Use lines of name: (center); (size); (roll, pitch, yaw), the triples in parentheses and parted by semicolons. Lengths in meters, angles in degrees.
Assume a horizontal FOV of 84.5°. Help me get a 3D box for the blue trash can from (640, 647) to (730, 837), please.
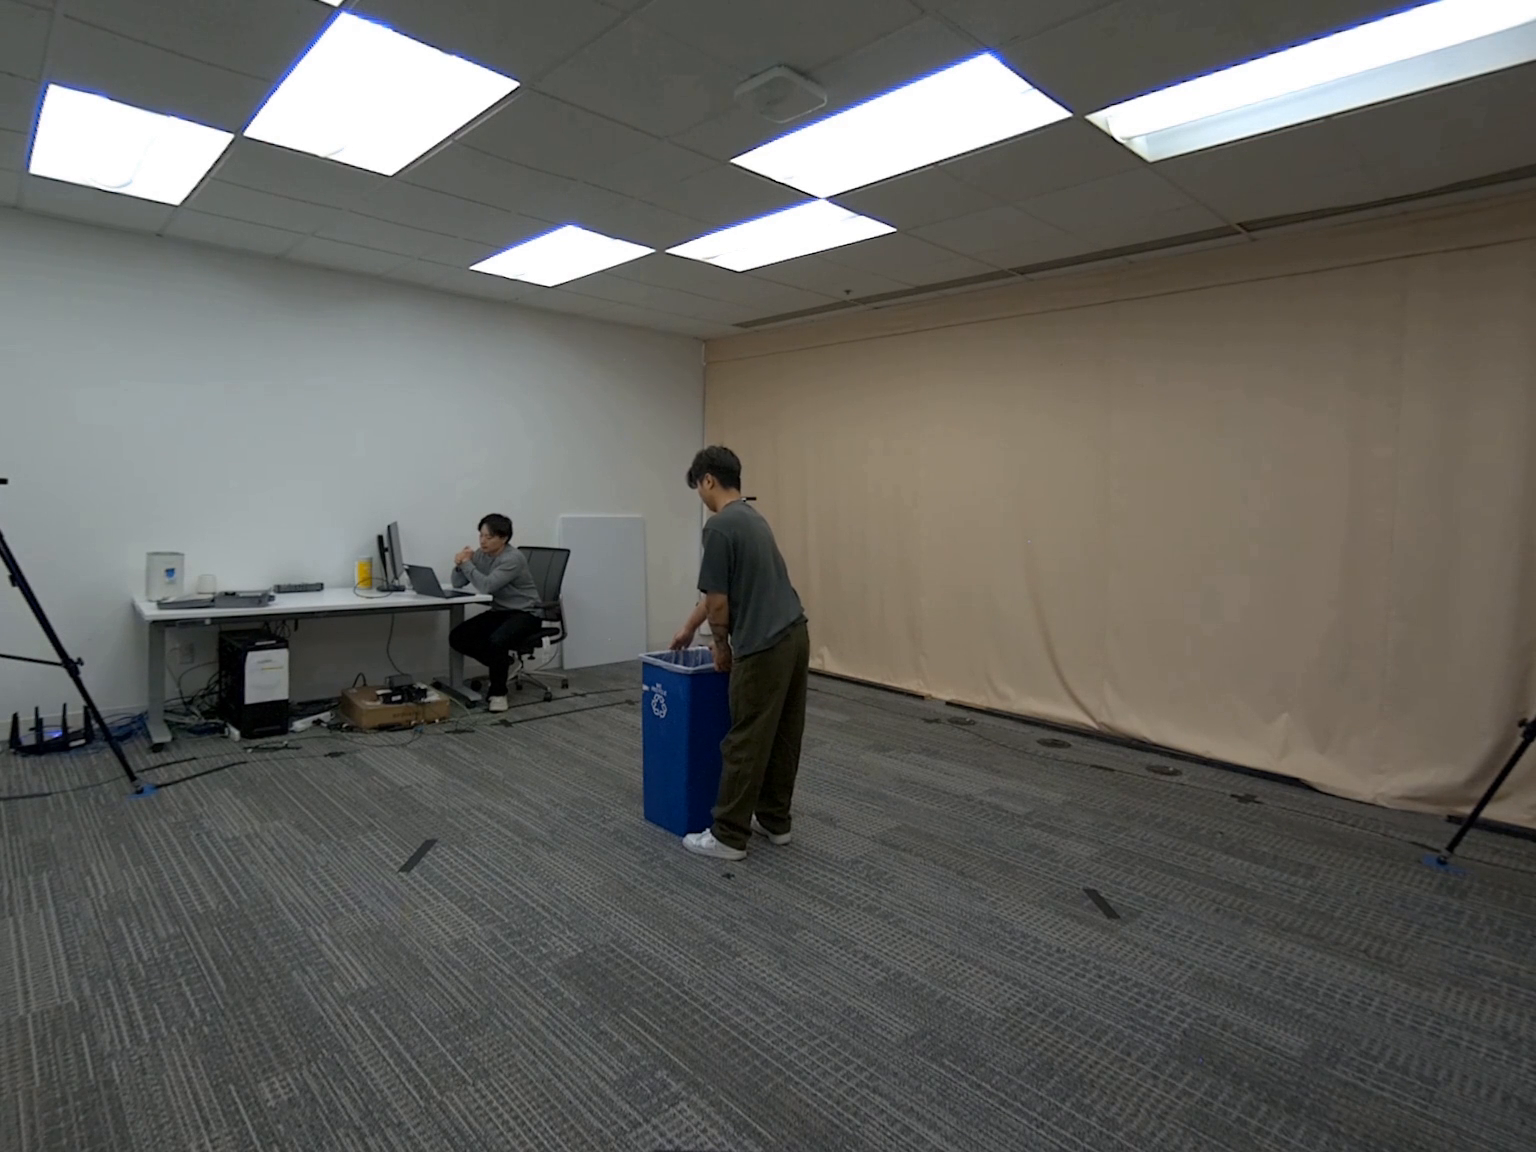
blue trash can: (-0.322, 0.698, 3.618); (0.369, 0.712, 0.383); (-2, 4, -43)
